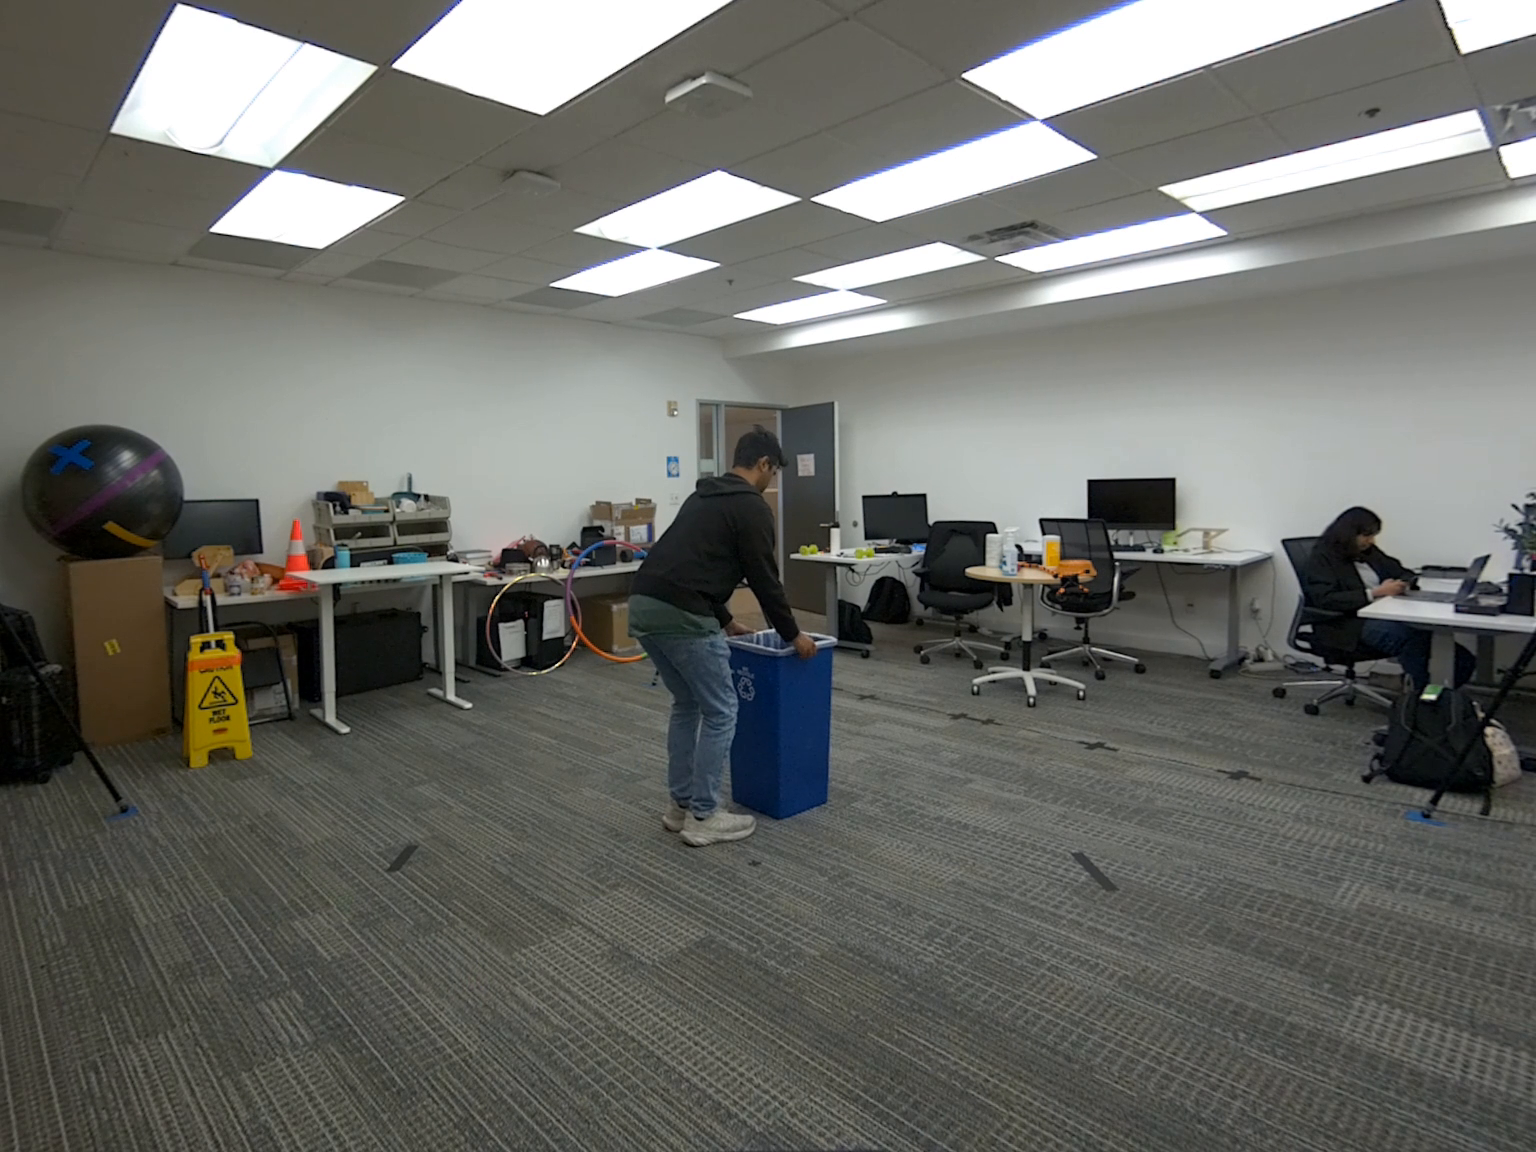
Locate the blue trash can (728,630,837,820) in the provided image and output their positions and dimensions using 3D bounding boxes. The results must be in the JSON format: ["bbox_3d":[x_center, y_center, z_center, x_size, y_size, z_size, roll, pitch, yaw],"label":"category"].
[{"bbox_3d":[0.060,0.621,3.676,0.368,0.711,0.385,-5,6,-42],"label":"blue trash can"}]
